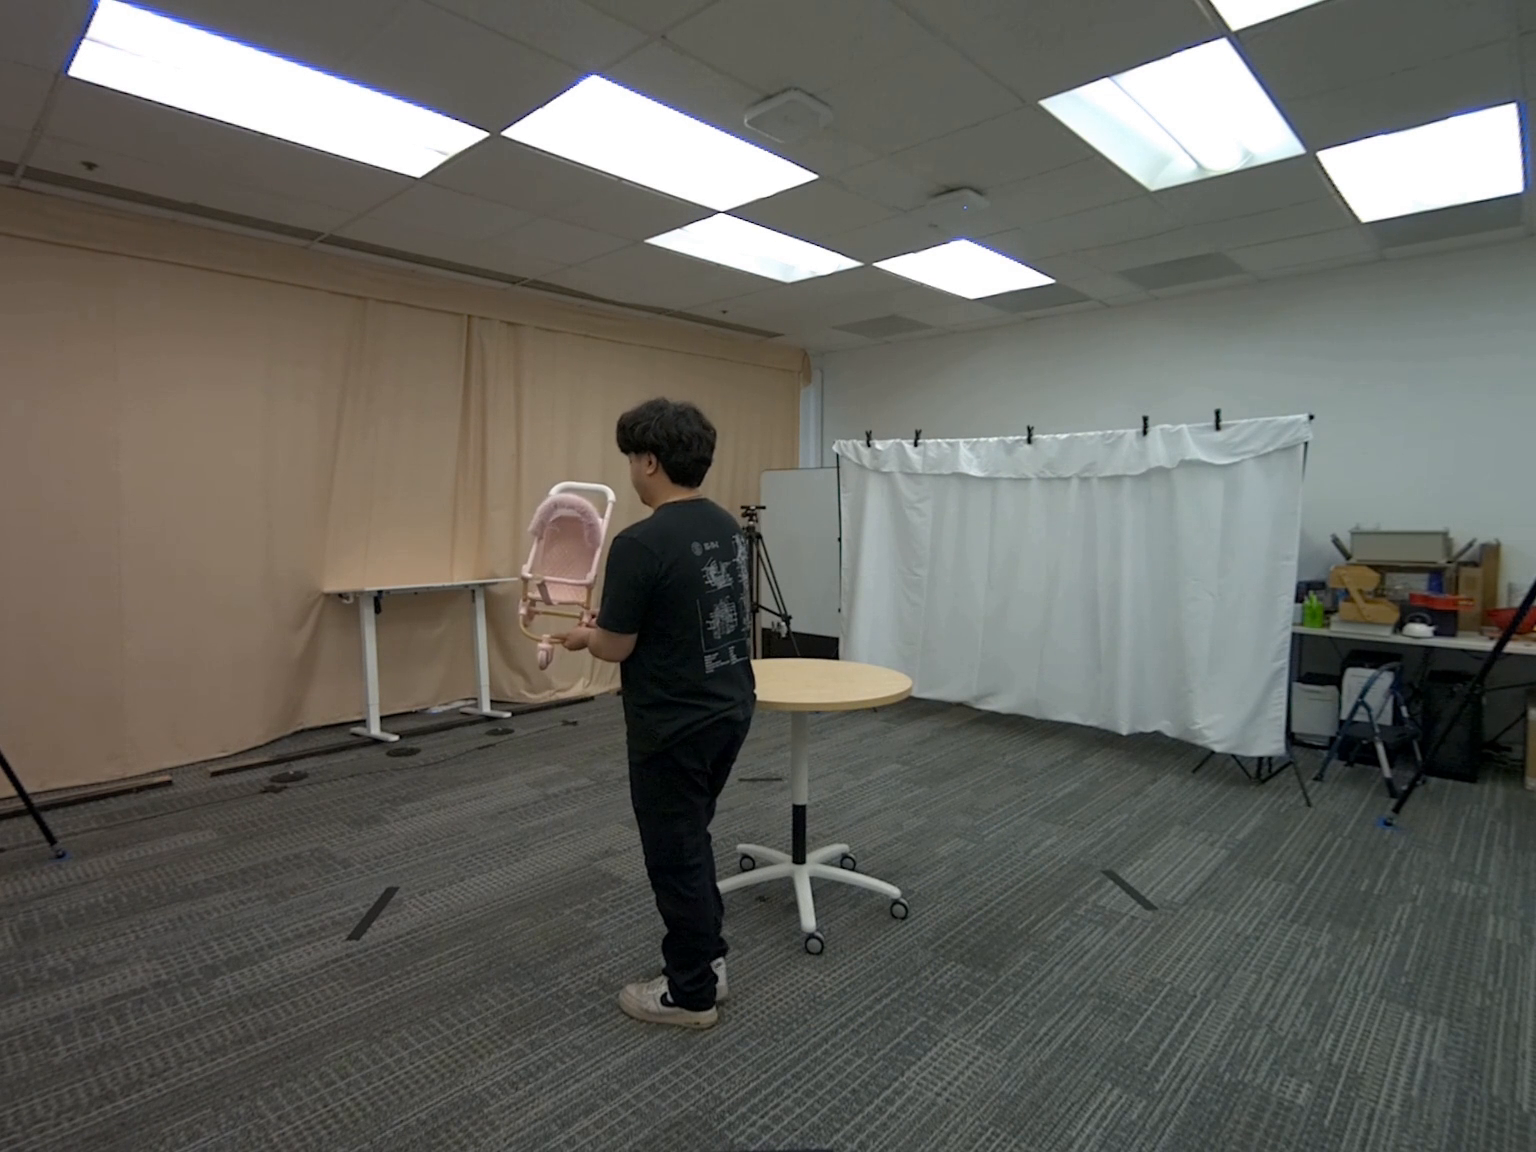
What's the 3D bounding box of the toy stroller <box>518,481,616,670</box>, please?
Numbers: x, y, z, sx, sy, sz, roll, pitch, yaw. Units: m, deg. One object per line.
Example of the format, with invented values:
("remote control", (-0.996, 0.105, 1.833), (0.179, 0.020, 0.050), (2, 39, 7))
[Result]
("toy stroller", (-0.615, -0.013, 2.507), (0.283, 0.534, 0.340), (8, 5, 4))
